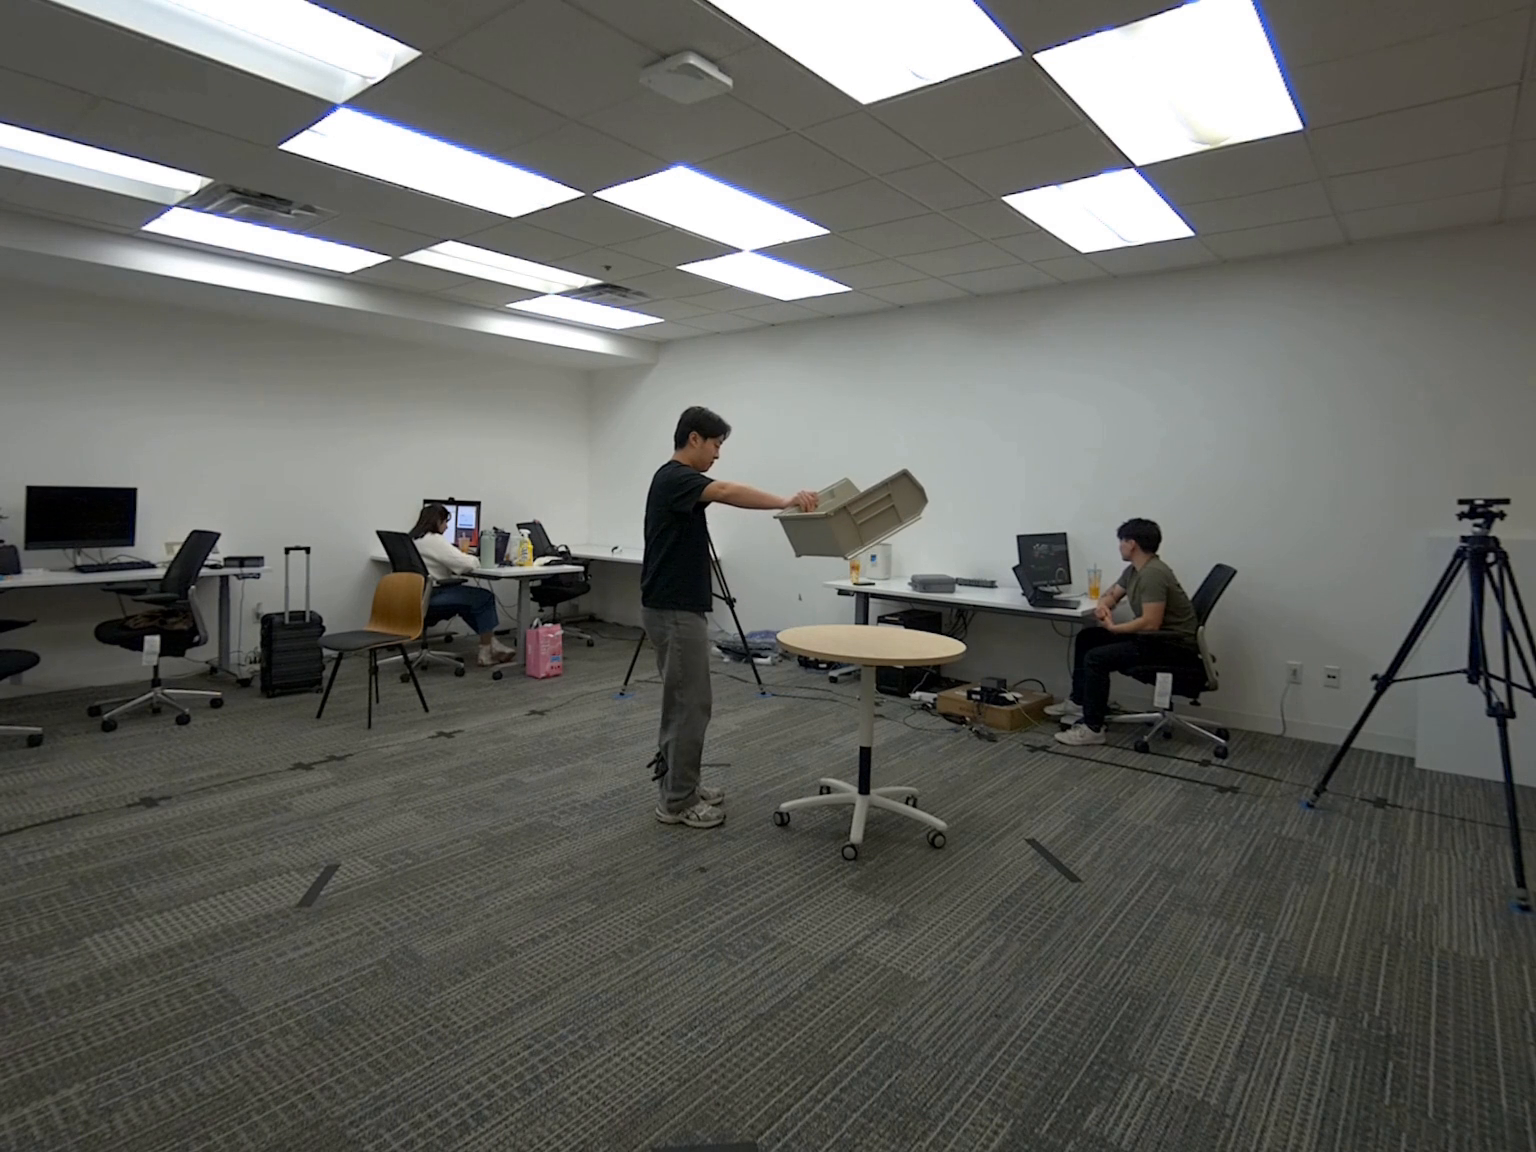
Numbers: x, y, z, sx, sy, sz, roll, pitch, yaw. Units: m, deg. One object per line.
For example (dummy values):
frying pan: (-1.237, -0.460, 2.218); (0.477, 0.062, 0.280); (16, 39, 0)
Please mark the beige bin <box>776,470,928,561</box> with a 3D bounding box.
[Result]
beige bin: (0.286, -0.211, 3.009); (0.374, 0.186, 0.432); (-30, 14, -19)
